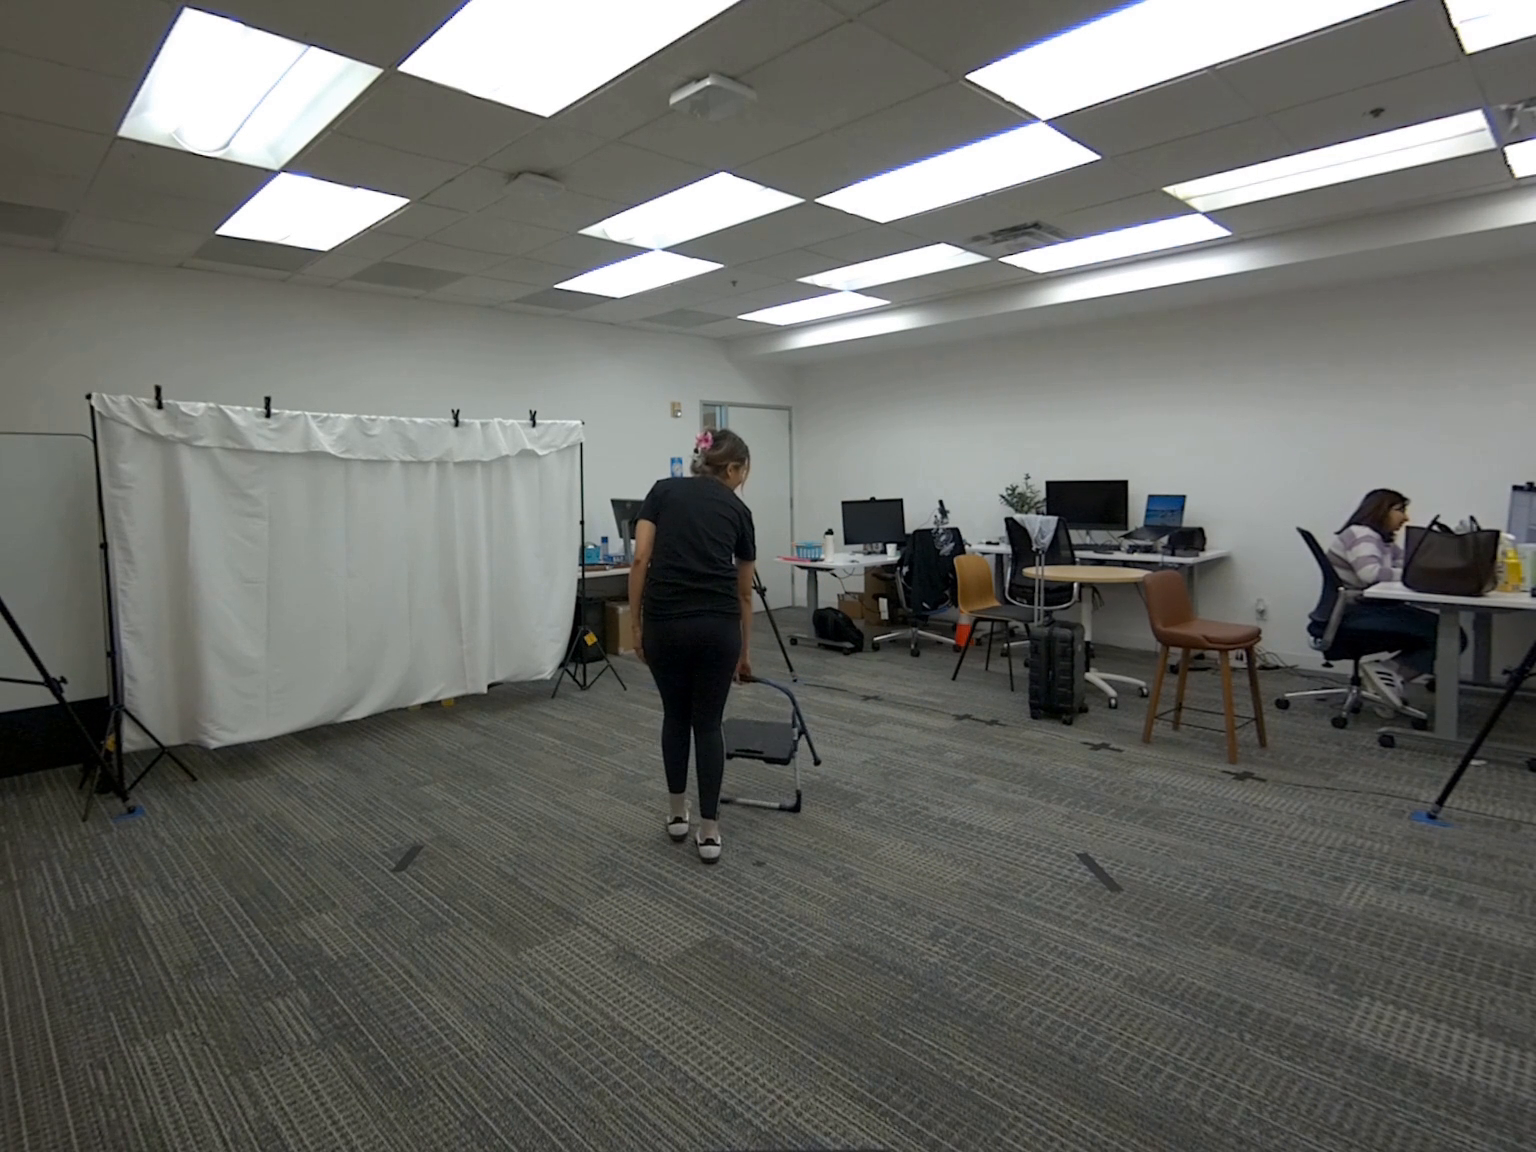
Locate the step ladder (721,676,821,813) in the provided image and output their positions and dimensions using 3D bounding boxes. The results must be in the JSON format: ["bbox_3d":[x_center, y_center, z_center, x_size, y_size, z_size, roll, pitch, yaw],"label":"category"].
[{"bbox_3d":[-0.048,0.647,3.682,0.439,0.592,0.350,1,26,21],"label":"step ladder"}]
